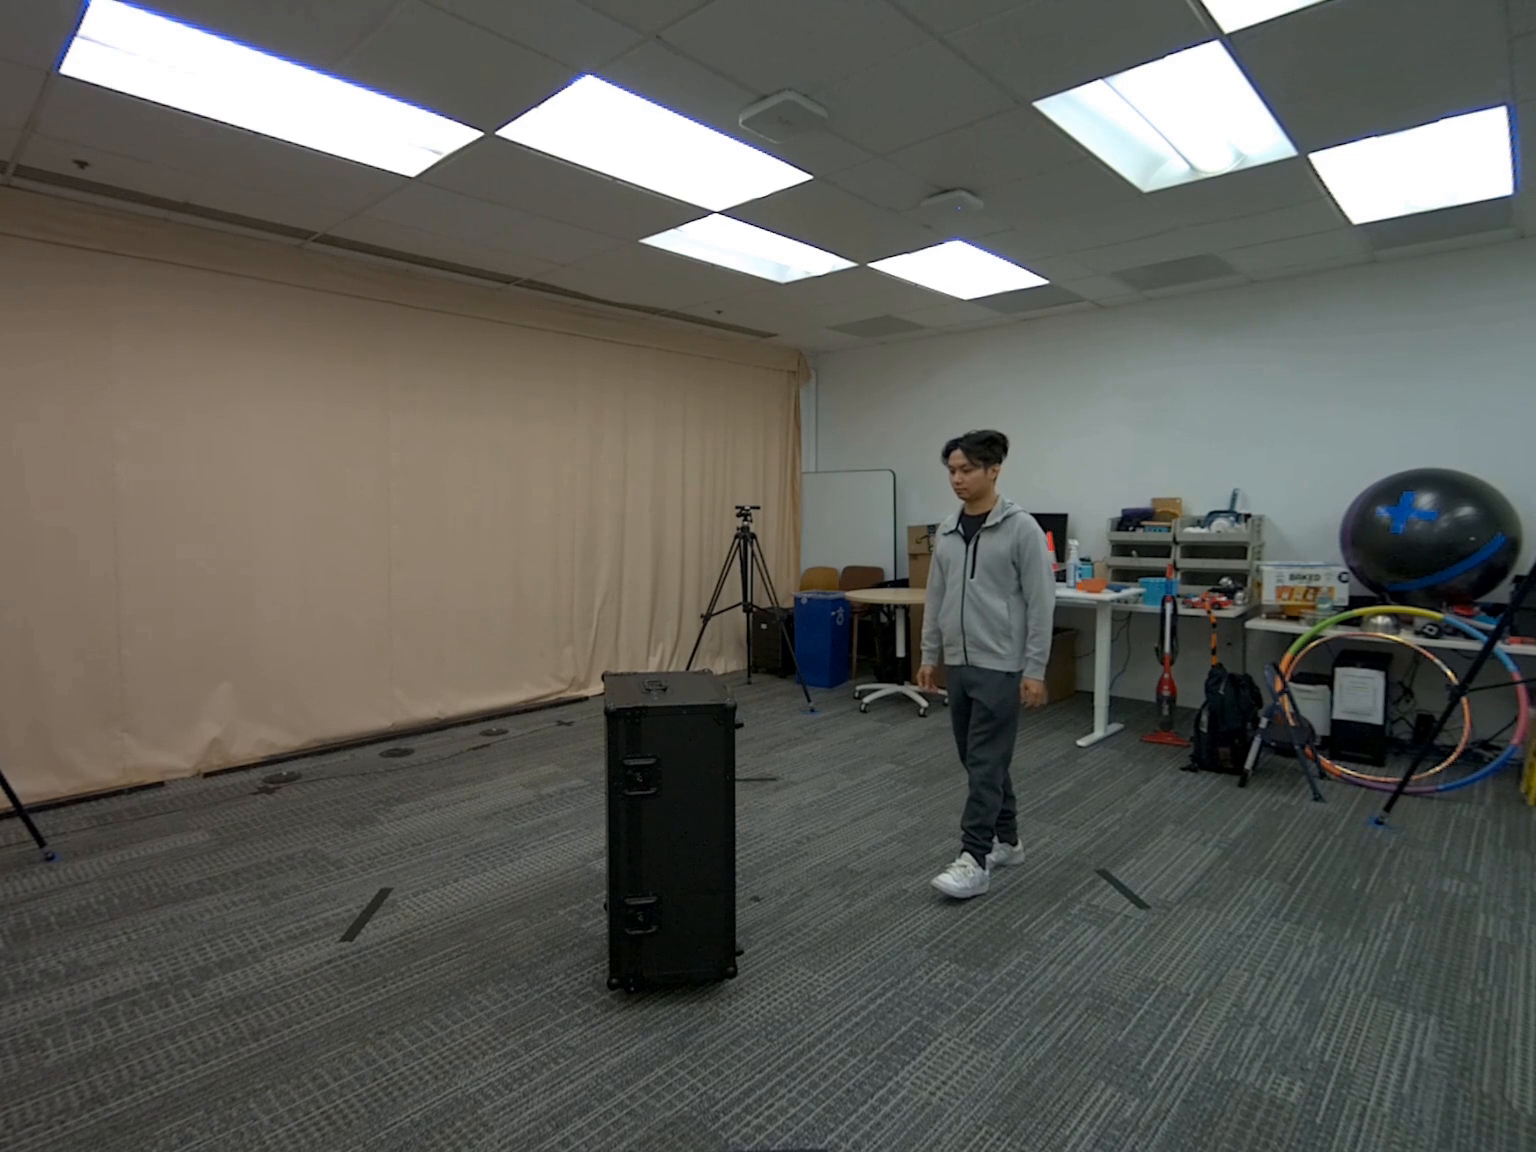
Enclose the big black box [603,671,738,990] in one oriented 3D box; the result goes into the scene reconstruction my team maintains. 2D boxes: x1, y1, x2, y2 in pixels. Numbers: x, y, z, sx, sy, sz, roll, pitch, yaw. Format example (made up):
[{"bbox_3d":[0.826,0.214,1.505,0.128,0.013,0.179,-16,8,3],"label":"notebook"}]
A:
[{"bbox_3d":[-0.304,0.758,2.549,0.392,0.860,0.528,0,3,-12],"label":"big black box"}]
